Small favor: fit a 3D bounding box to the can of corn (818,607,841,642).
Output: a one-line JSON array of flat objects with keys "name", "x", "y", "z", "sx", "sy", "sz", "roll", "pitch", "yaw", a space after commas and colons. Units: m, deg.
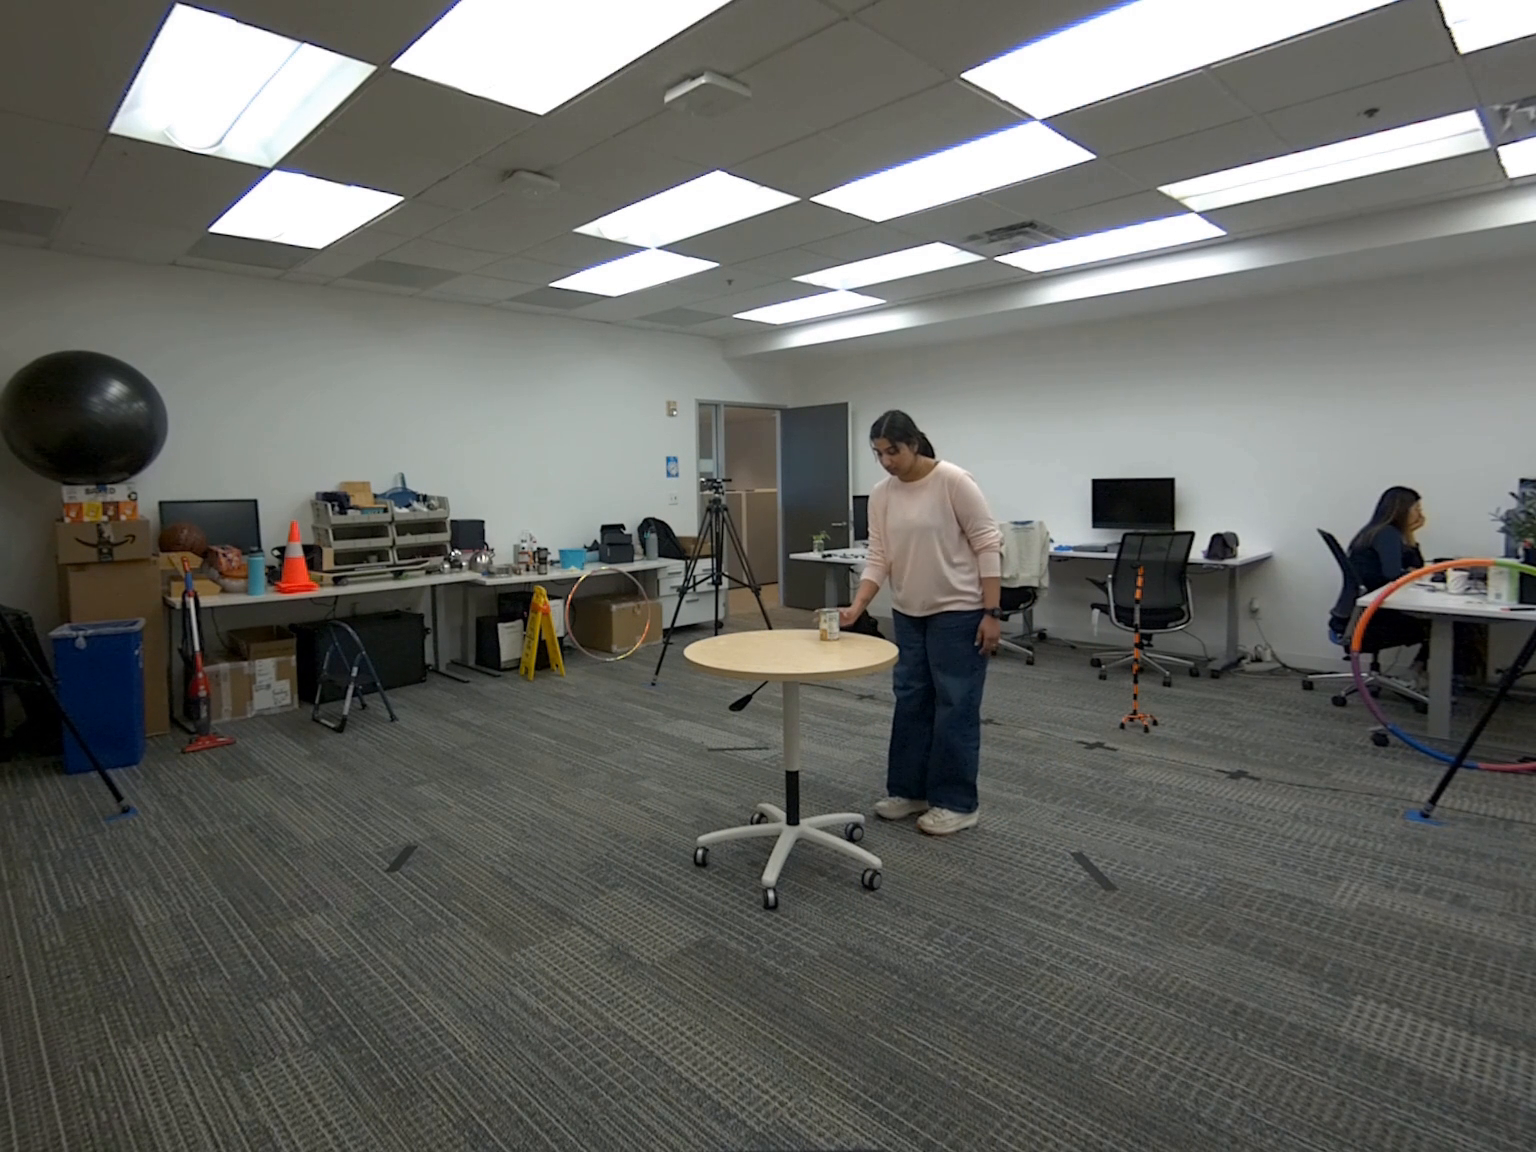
[{"name": "can of corn", "x": 0.233, "y": 0.184, "z": 3.226, "sx": 0.074, "sy": 0.110, "sz": 0.074, "roll": 0, "pitch": 5, "yaw": -2}]
